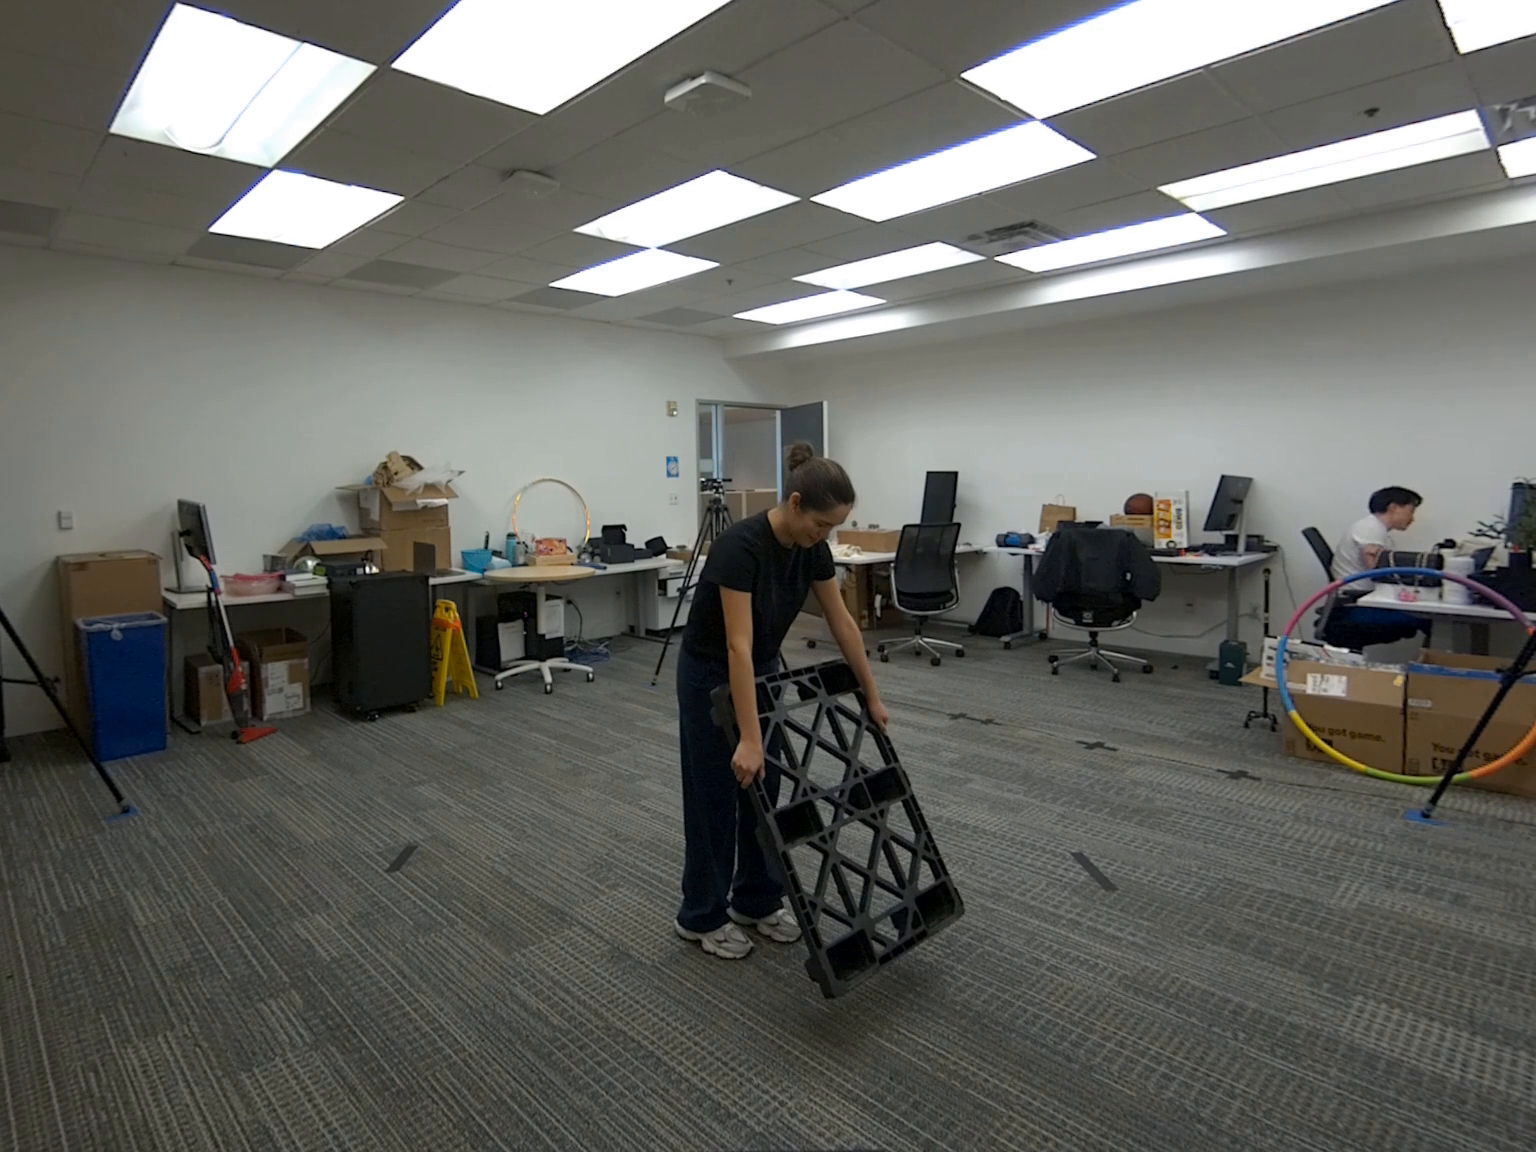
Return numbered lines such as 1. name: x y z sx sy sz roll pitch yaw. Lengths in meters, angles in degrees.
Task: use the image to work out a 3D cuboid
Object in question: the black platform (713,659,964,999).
1. black platform: 0.184 0.661 2.415 0.589 0.823 0.144 -4 -26 -44
